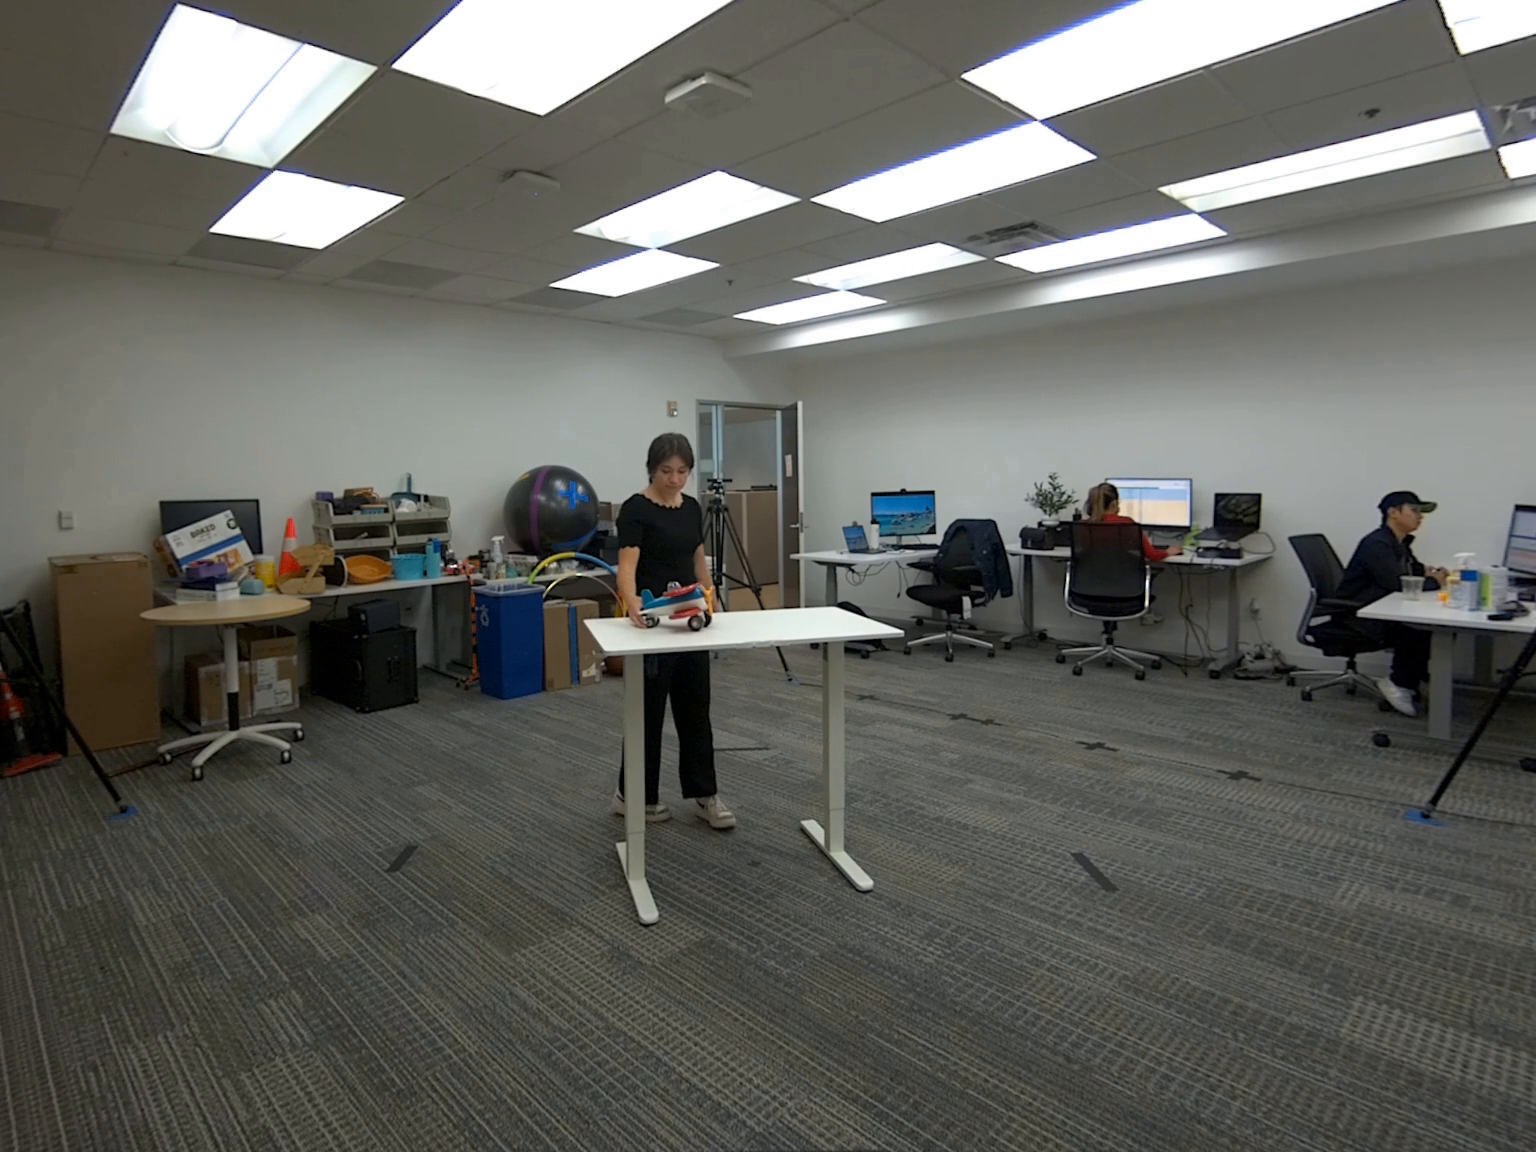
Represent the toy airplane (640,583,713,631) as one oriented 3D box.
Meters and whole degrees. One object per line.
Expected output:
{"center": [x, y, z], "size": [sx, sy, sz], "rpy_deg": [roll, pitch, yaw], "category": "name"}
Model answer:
{"center": [-0.317, 0.107, 2.948], "size": [0.256, 0.156, 0.255], "rpy_deg": [-1, 5, -13], "category": "toy airplane"}
